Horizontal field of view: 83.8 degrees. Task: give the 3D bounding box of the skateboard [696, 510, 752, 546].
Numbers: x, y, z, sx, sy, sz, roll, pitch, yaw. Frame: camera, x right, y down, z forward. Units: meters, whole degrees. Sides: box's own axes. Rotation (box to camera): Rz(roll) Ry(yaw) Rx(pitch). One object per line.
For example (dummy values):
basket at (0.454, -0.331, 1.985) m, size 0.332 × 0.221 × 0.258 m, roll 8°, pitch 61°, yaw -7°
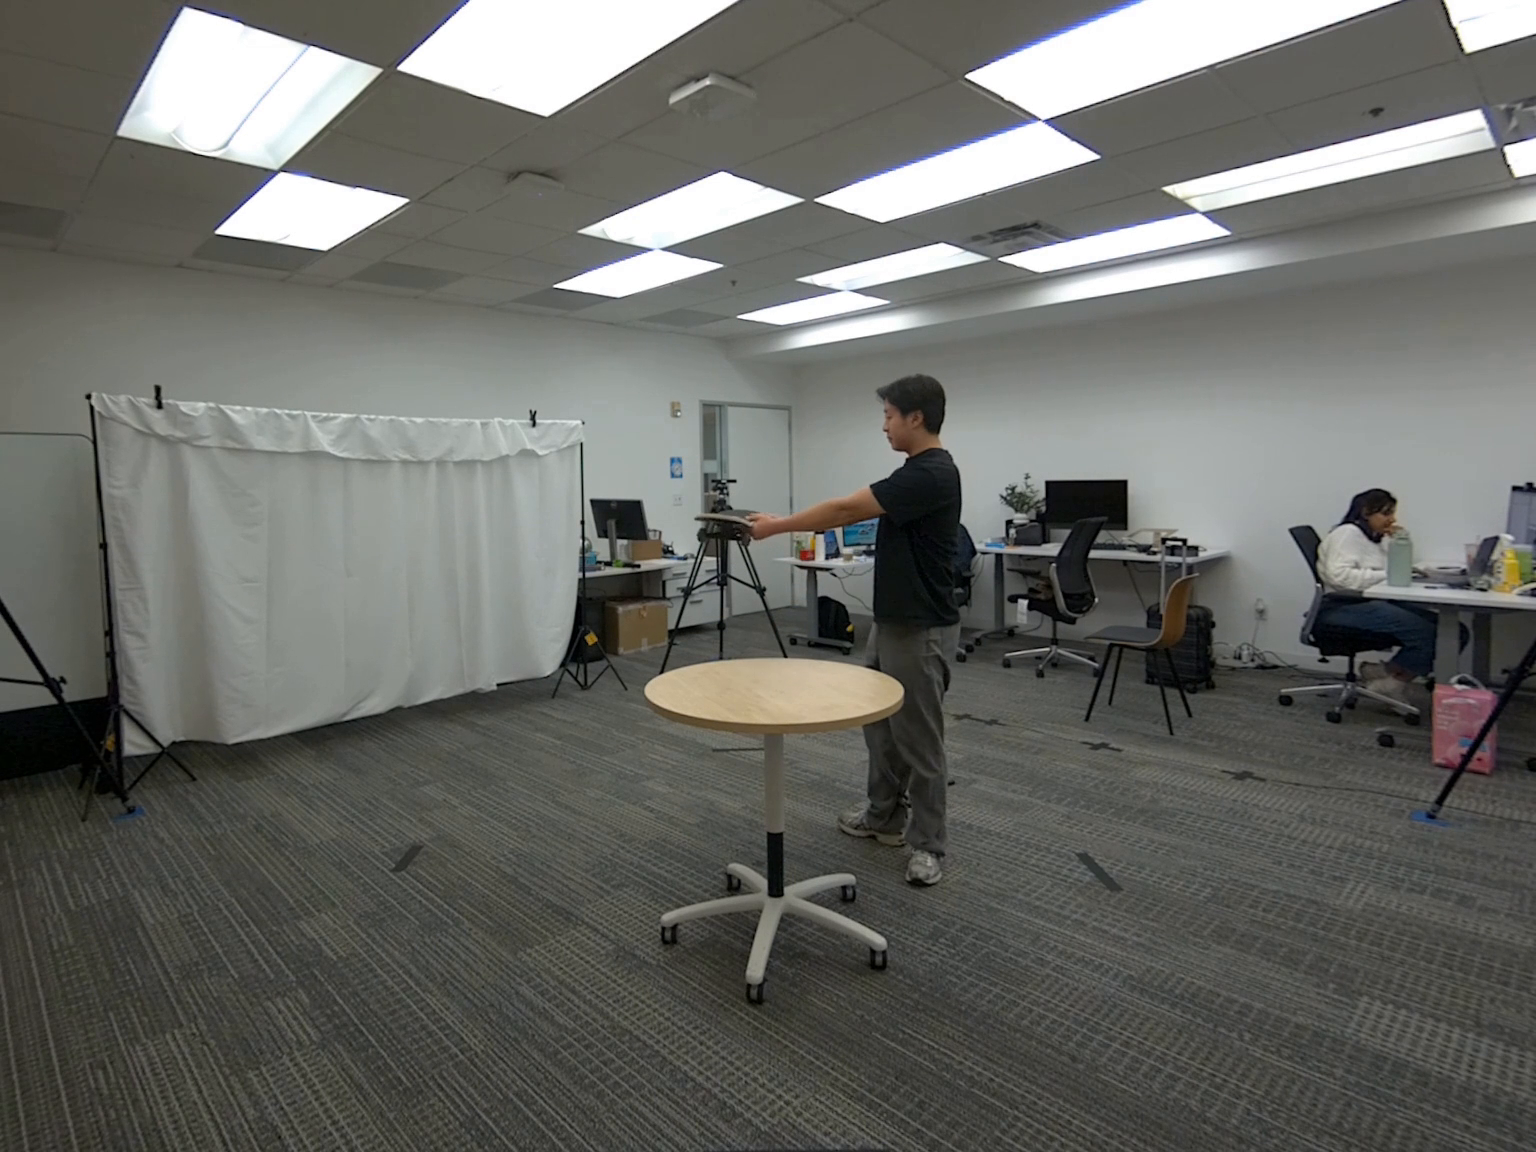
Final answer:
skateboard at (-0.124, -0.180, 3.165) m, size 0.195 × 0.110 × 0.783 m, roll 5°, pitch 6°, yaw 4°
